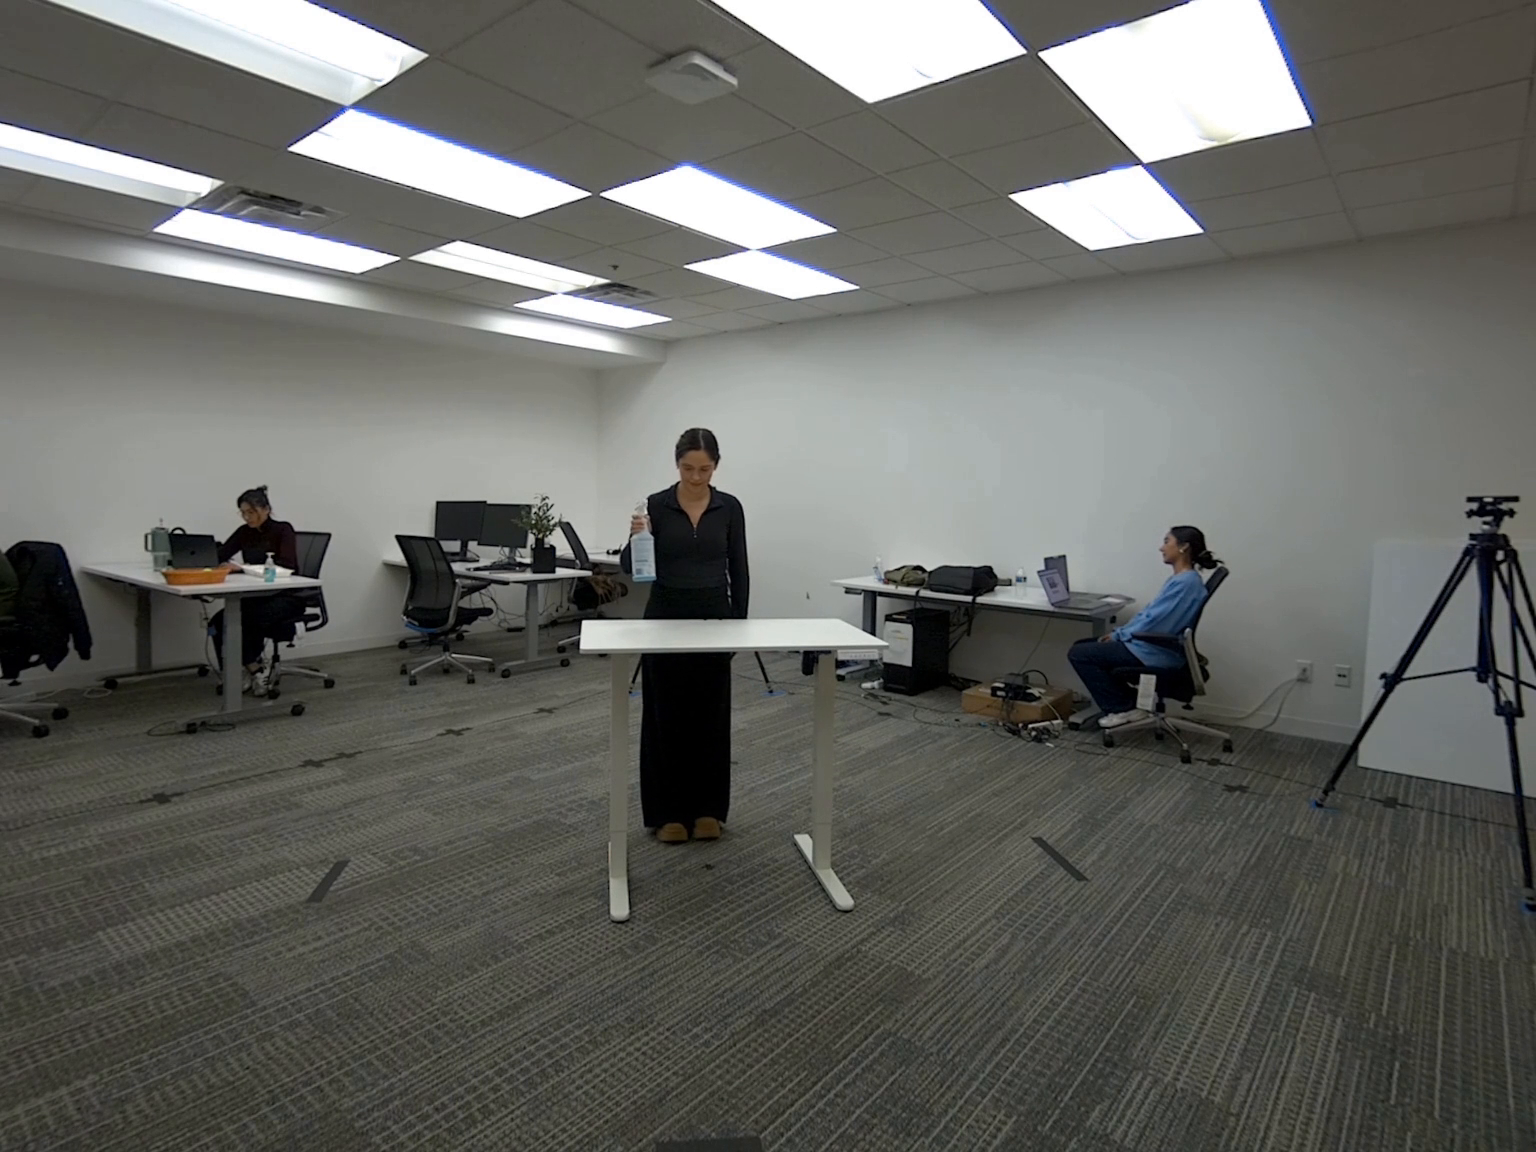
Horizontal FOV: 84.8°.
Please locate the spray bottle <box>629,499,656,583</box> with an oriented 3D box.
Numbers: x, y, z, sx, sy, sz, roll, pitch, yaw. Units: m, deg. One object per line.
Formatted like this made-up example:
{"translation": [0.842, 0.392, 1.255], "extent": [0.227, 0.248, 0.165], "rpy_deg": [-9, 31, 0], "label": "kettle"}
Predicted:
{"translation": [-0.488, -0.128, 3.136], "extent": [0.087, 0.298, 0.090], "rpy_deg": [-2, -4, -5], "label": "spray bottle"}
